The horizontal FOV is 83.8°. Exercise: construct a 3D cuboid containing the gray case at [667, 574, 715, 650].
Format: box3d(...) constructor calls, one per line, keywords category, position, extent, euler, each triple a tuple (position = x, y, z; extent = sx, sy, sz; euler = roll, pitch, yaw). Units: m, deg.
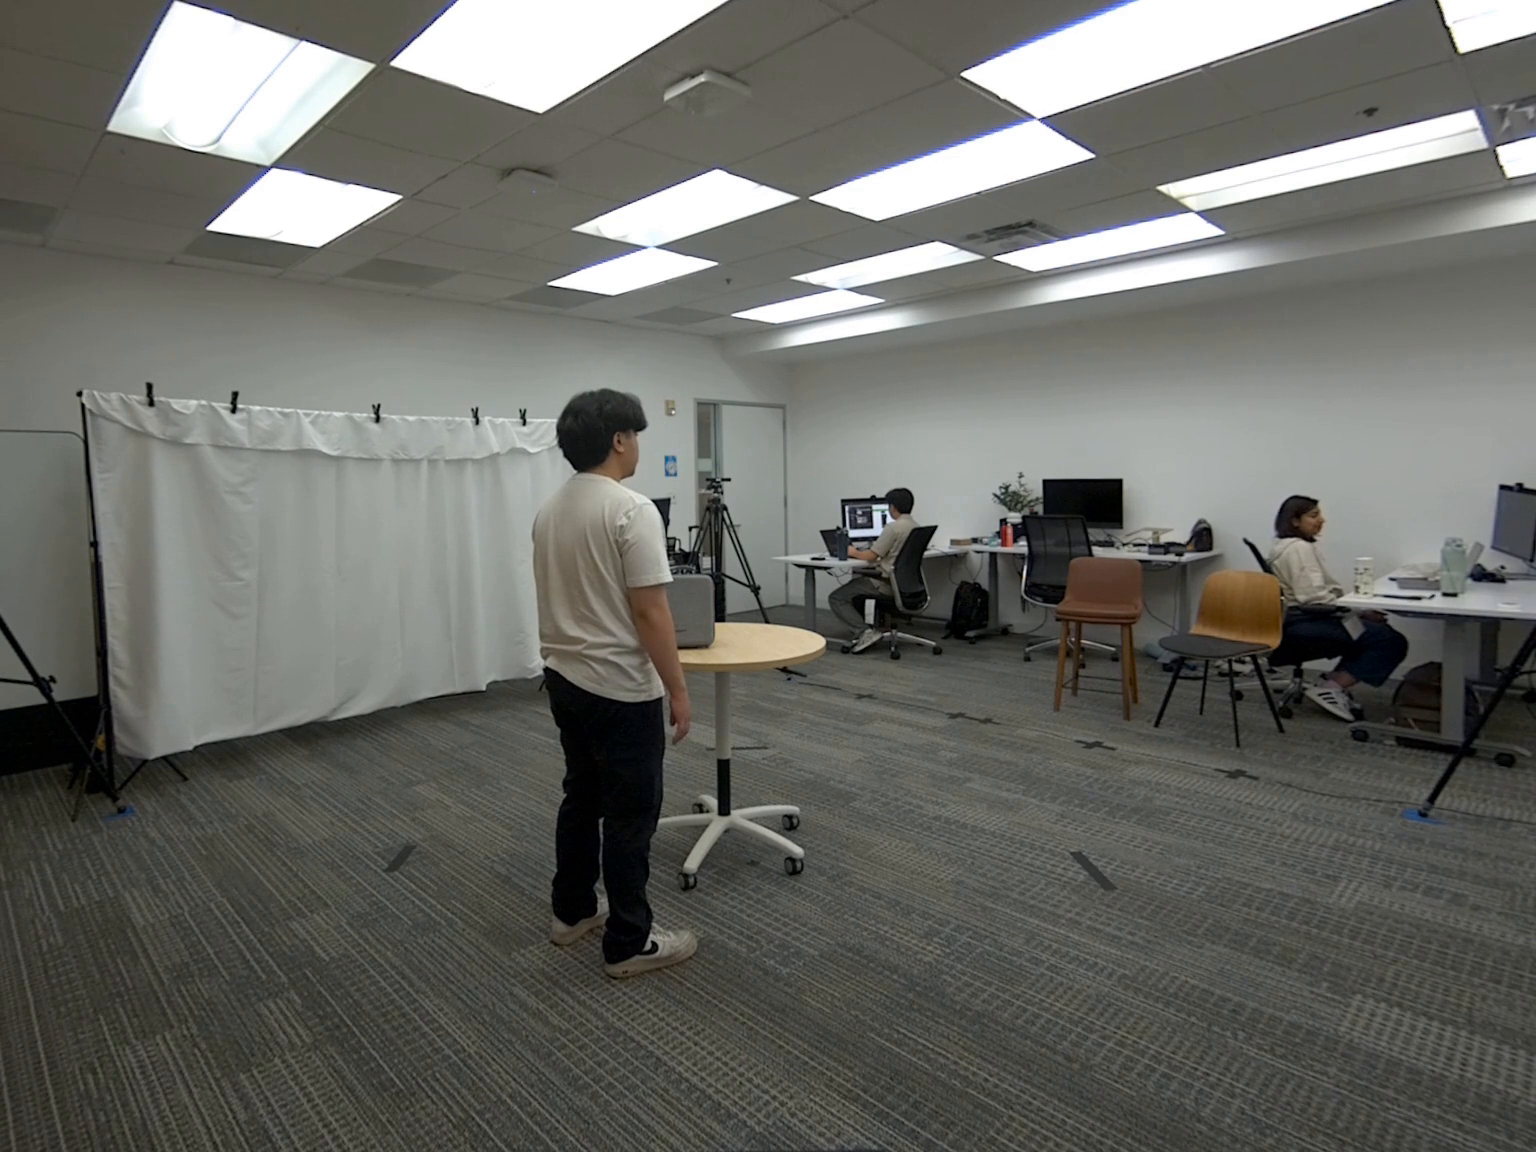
box3d(category="gray case", position=(-0.325, 0.119, 3.056), extent=(0.255, 0.263, 0.104), euler=(-1, -9, -9))
